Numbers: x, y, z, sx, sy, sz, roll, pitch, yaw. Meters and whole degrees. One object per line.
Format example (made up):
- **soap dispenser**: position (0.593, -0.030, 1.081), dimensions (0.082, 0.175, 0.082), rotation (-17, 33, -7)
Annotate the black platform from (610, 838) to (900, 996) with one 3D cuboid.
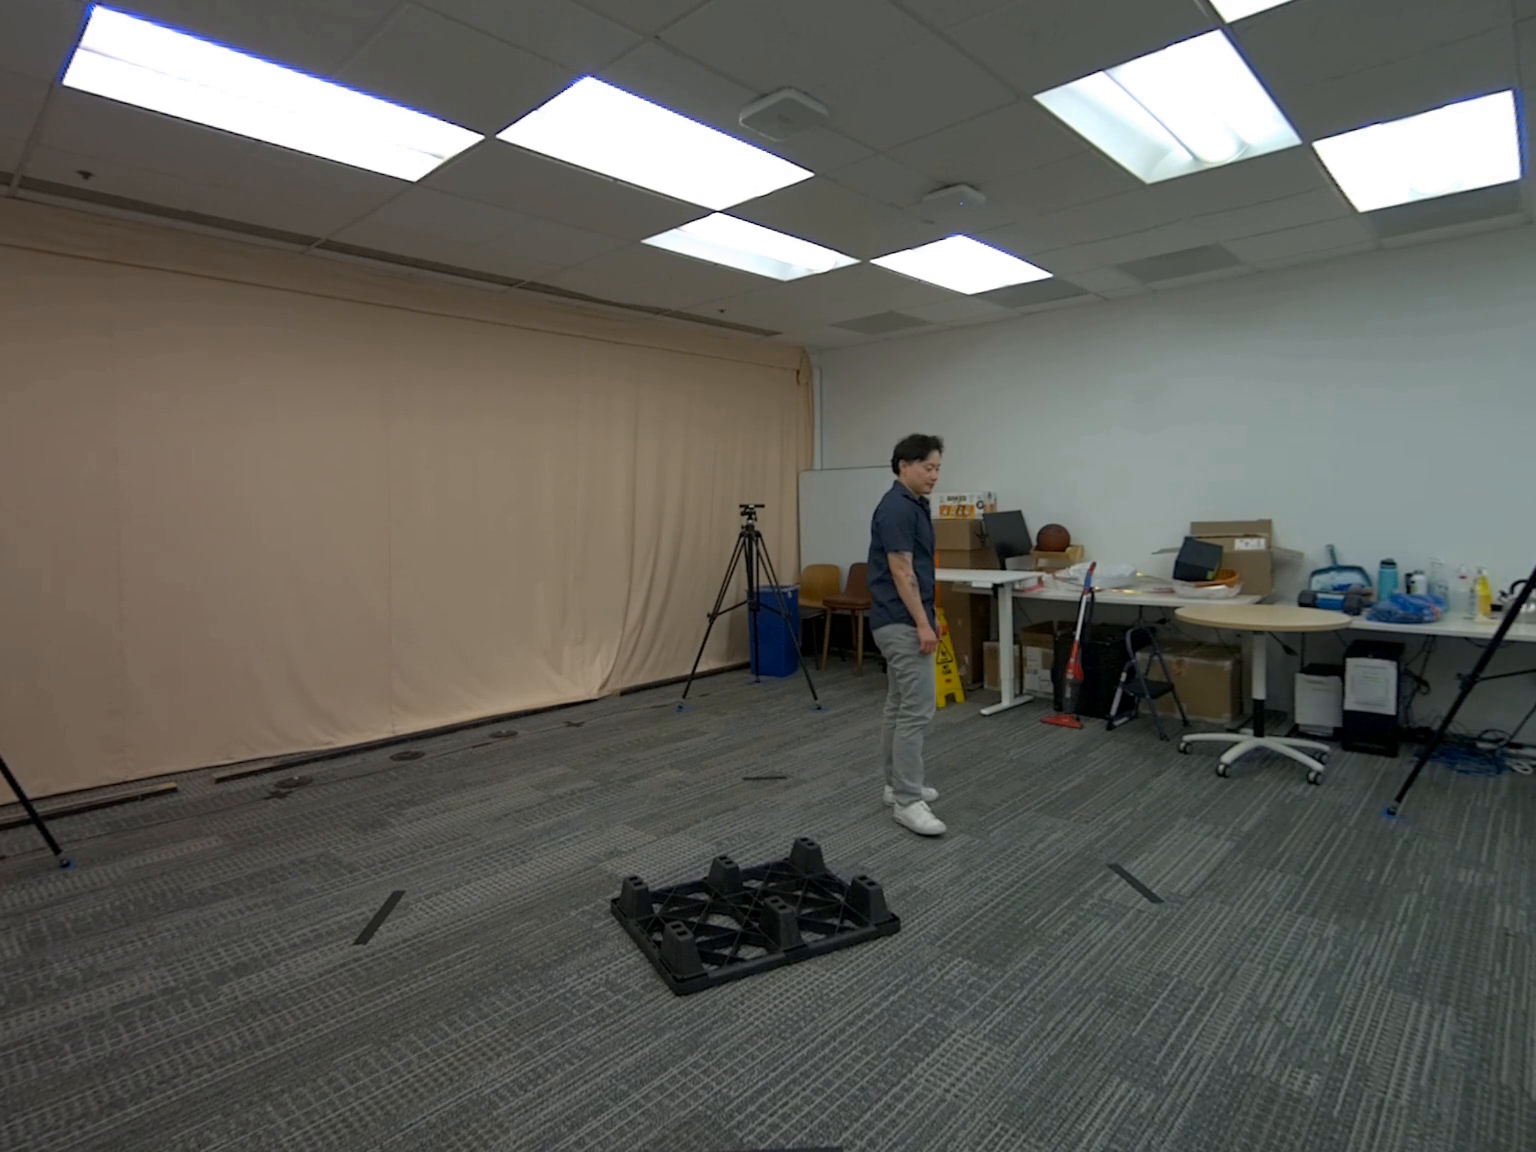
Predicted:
- **black platform**: position (-0.053, 1.085, 2.823), dimensions (0.785, 0.143, 0.622), rotation (-4, 6, -28)
